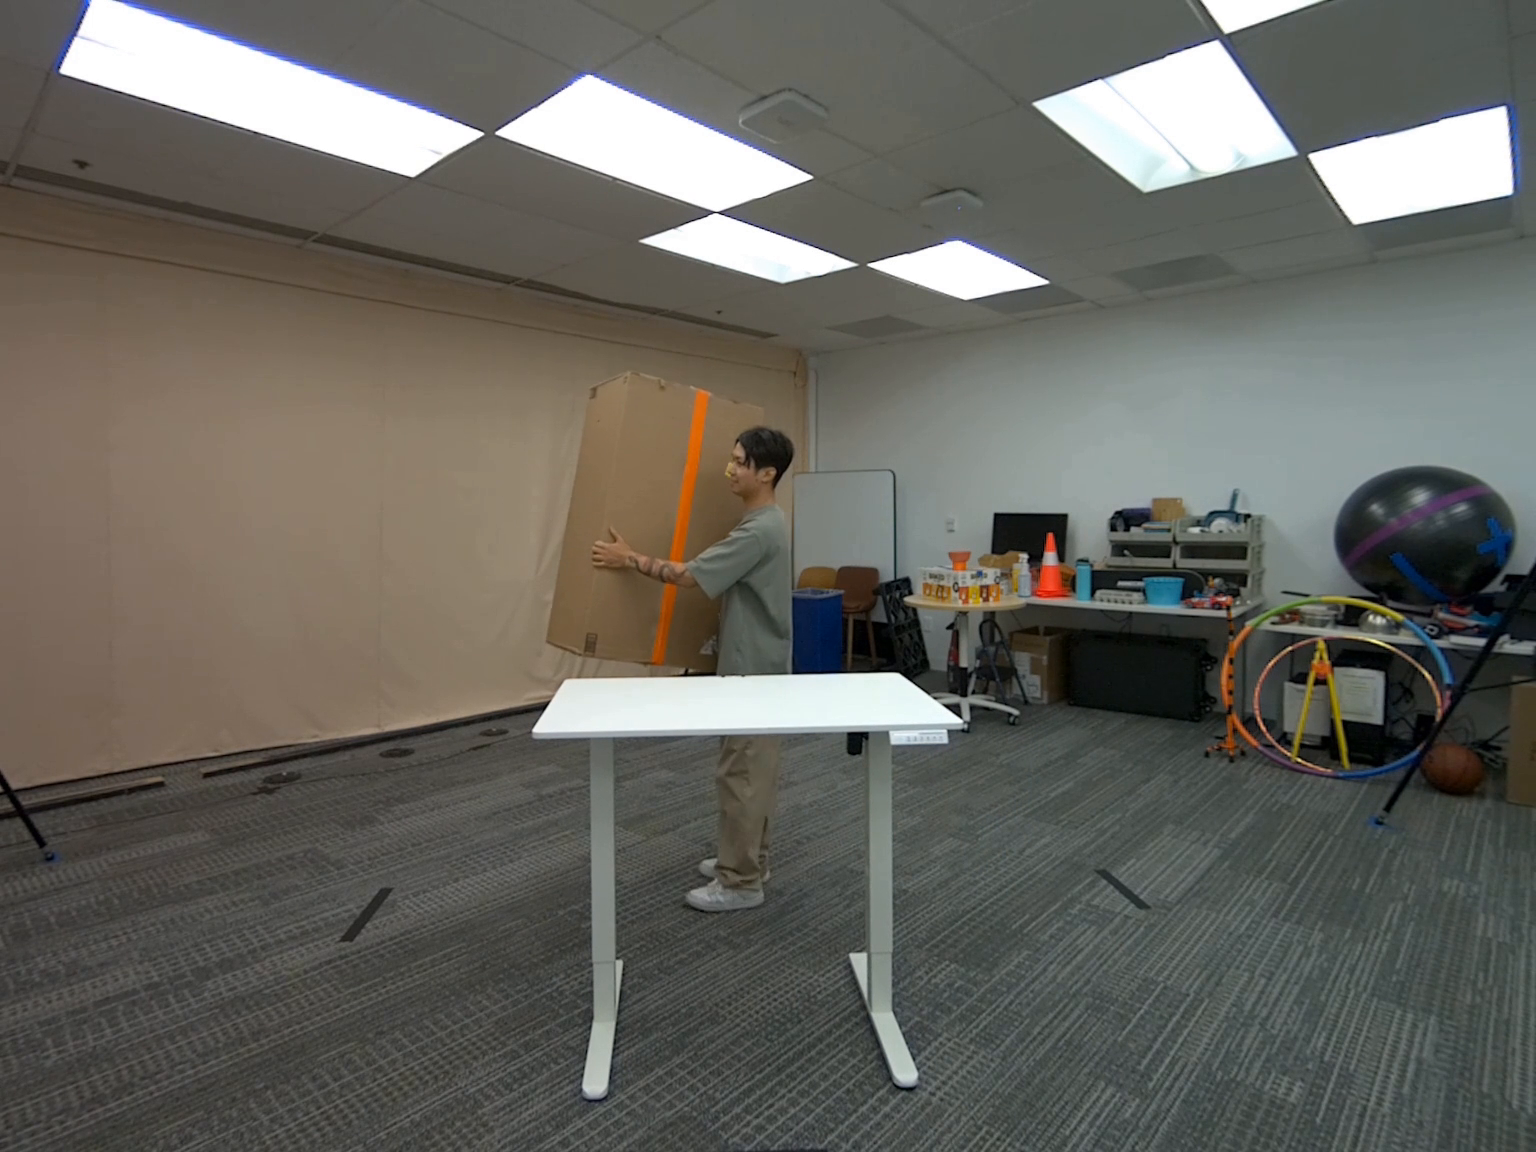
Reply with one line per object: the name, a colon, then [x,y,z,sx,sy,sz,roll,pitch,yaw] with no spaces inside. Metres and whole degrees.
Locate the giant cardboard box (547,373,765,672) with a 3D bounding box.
giant cardboard box: [-0.433,-0.182,3.253,0.560,1.027,0.438,11,-4,-30]
